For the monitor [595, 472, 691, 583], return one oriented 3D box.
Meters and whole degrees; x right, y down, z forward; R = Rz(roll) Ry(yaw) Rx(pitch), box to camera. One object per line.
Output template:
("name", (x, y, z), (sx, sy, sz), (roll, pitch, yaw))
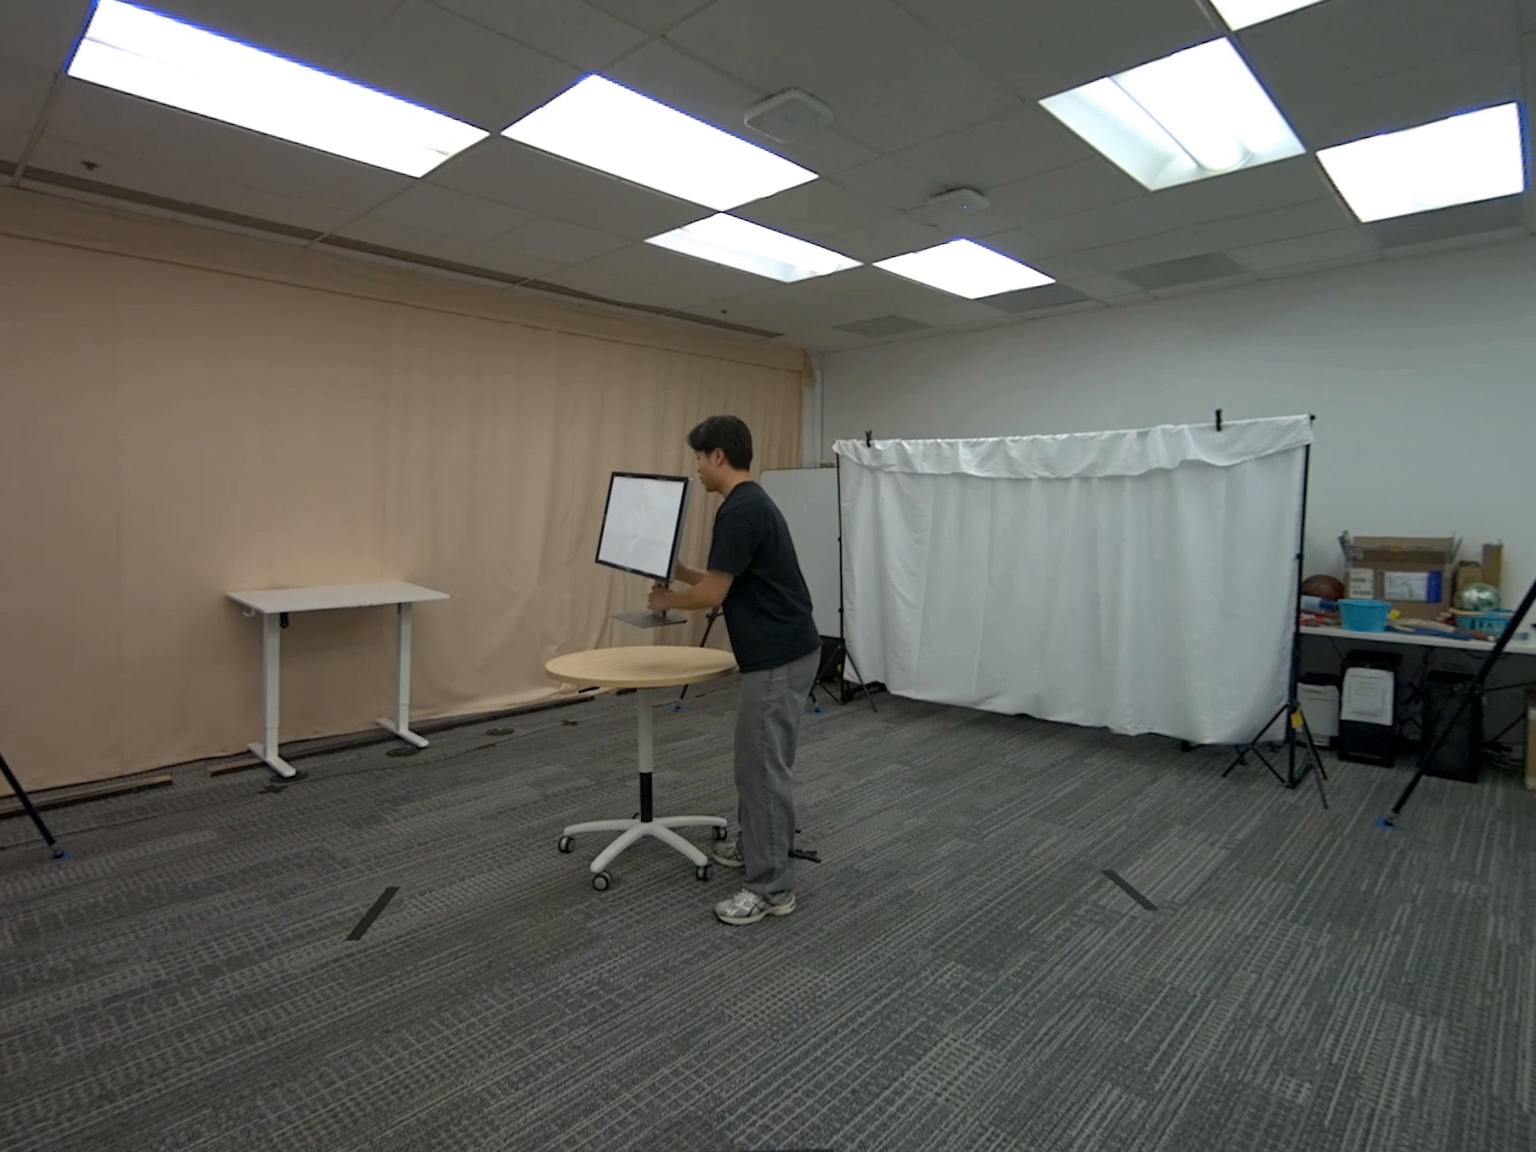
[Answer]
("monitor", (-0.437, -0.090, 3.100), (0.216, 0.562, 0.580), (-8, 11, -33))
